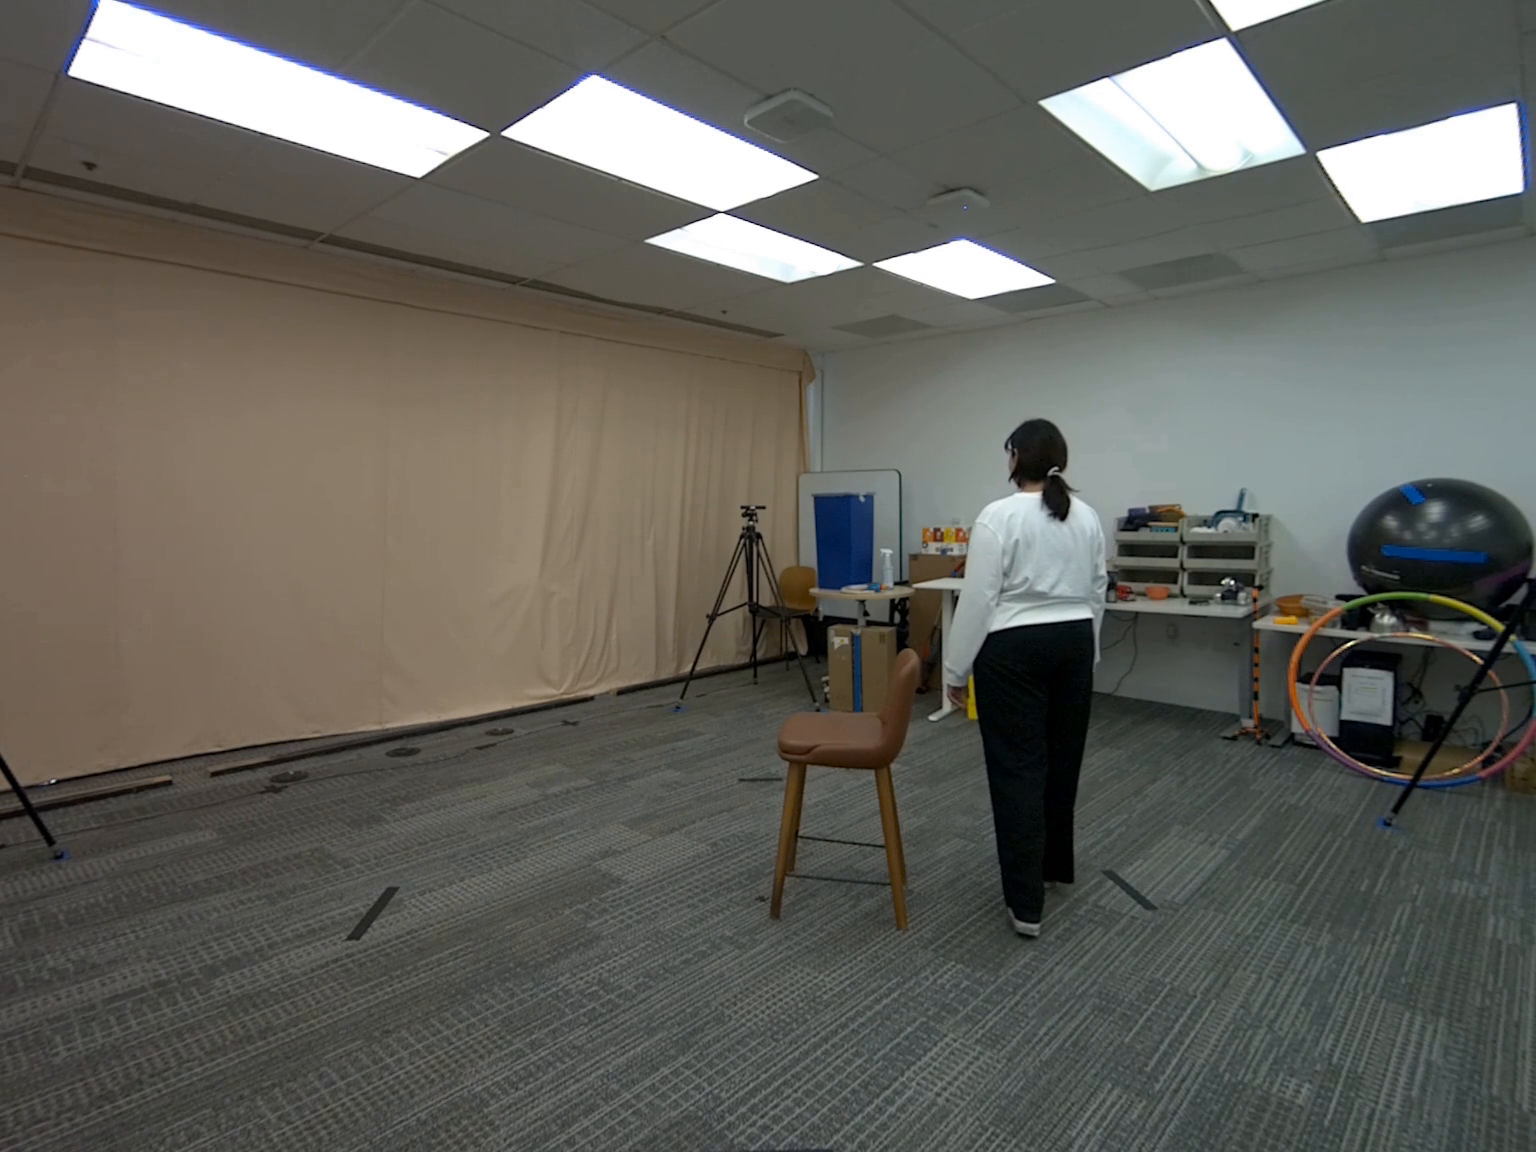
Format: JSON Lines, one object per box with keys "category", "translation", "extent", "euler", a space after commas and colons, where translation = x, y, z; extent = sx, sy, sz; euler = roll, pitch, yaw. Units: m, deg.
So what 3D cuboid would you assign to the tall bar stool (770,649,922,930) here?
{"category": "tall bar stool", "translation": [0.279, 0.710, 2.963], "extent": [0.474, 0.888, 0.451], "euler": [3, 3, 11]}
